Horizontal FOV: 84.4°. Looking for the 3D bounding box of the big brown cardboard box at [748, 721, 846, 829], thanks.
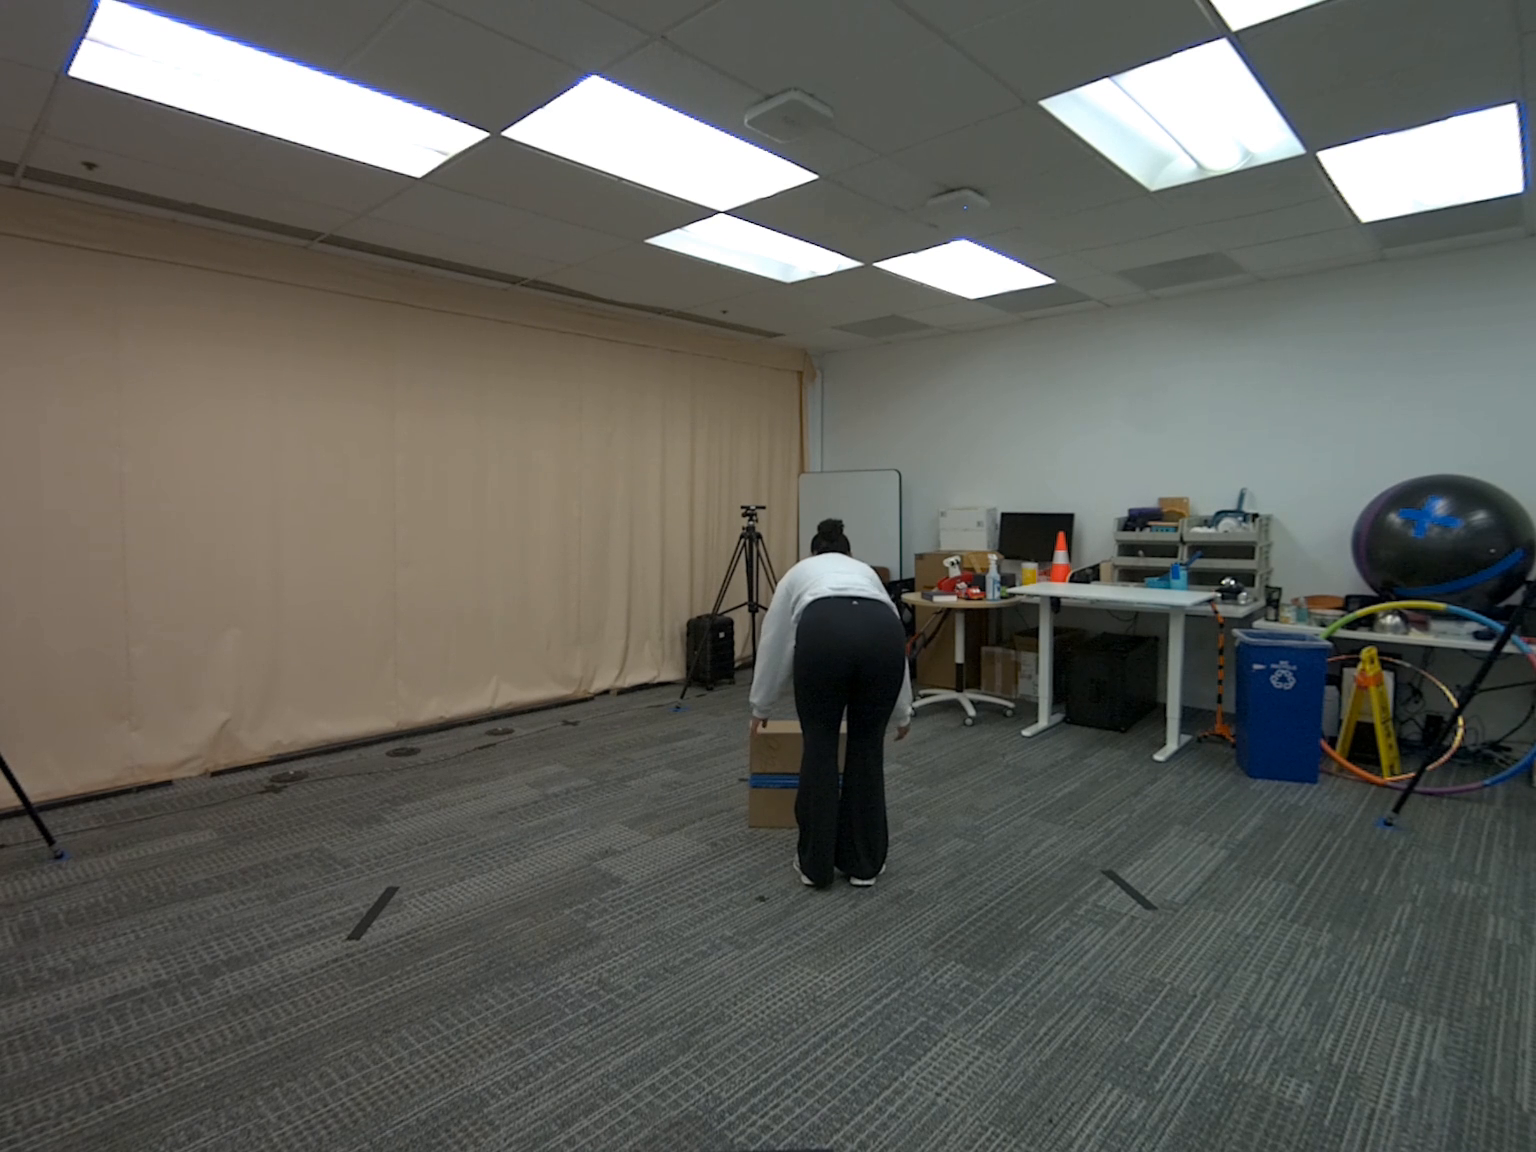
[{"bbox_3d":[0.205,0.873,3.727,0.591,0.417,0.233,0,2,2],"label":"big brown cardboard box"}]
